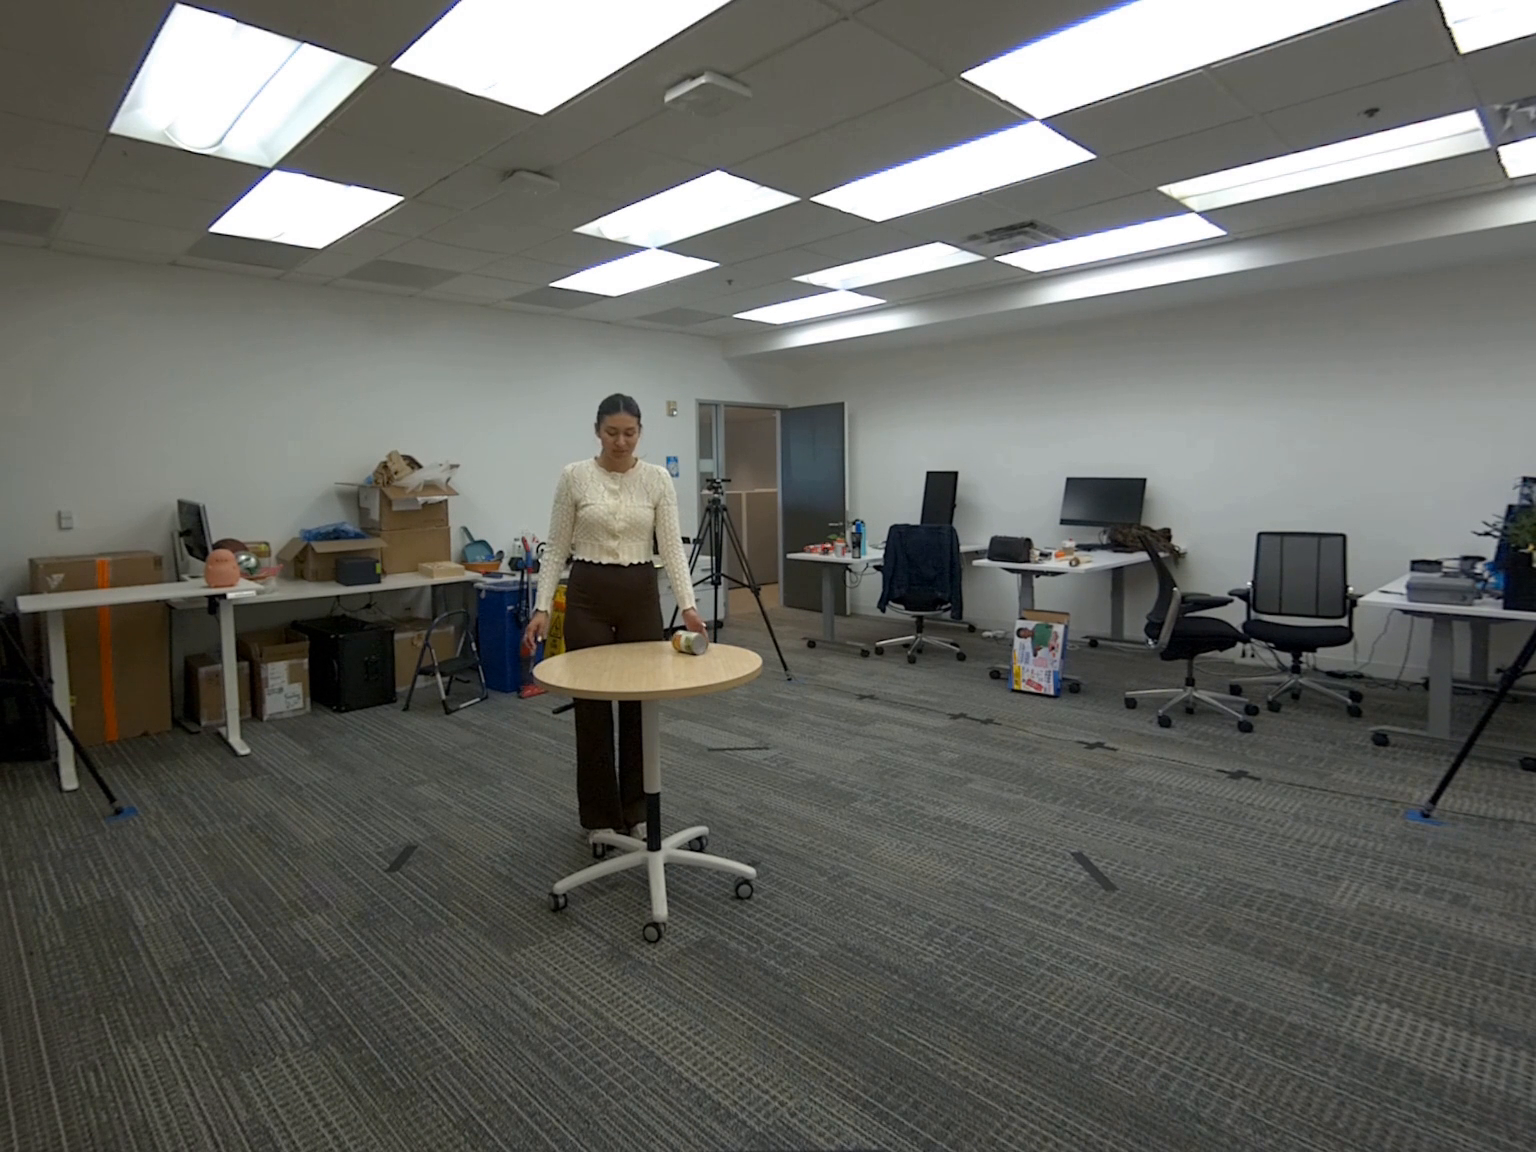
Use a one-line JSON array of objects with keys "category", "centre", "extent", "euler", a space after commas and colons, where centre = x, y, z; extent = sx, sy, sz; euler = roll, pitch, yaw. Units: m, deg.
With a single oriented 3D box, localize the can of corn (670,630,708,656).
[{"category": "can of corn", "centre": [-0.283, 0.238, 3.015], "extent": [0.114, 0.074, 0.072], "euler": [4, 6, 42]}]
